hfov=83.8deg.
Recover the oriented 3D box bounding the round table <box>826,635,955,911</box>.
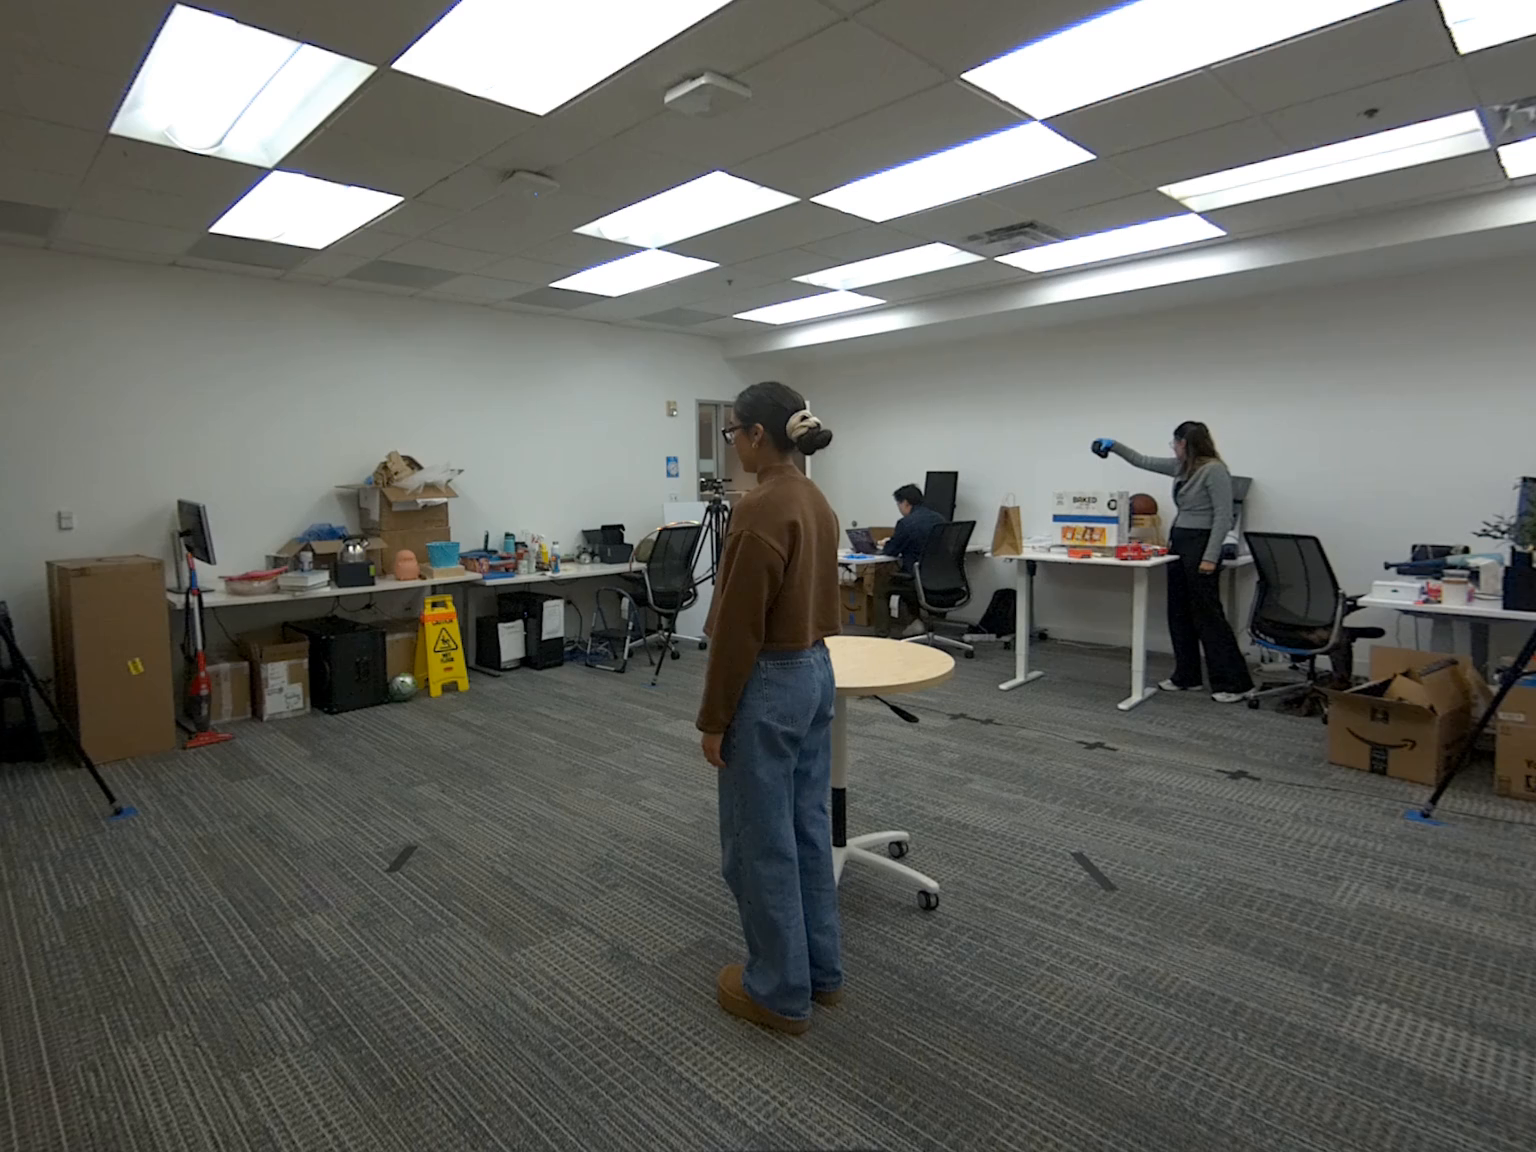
[{"bbox_3d":[0.250,0.673,2.907,0.763,0.790,0.768,-1,5,-2],"label":"round table"}]
